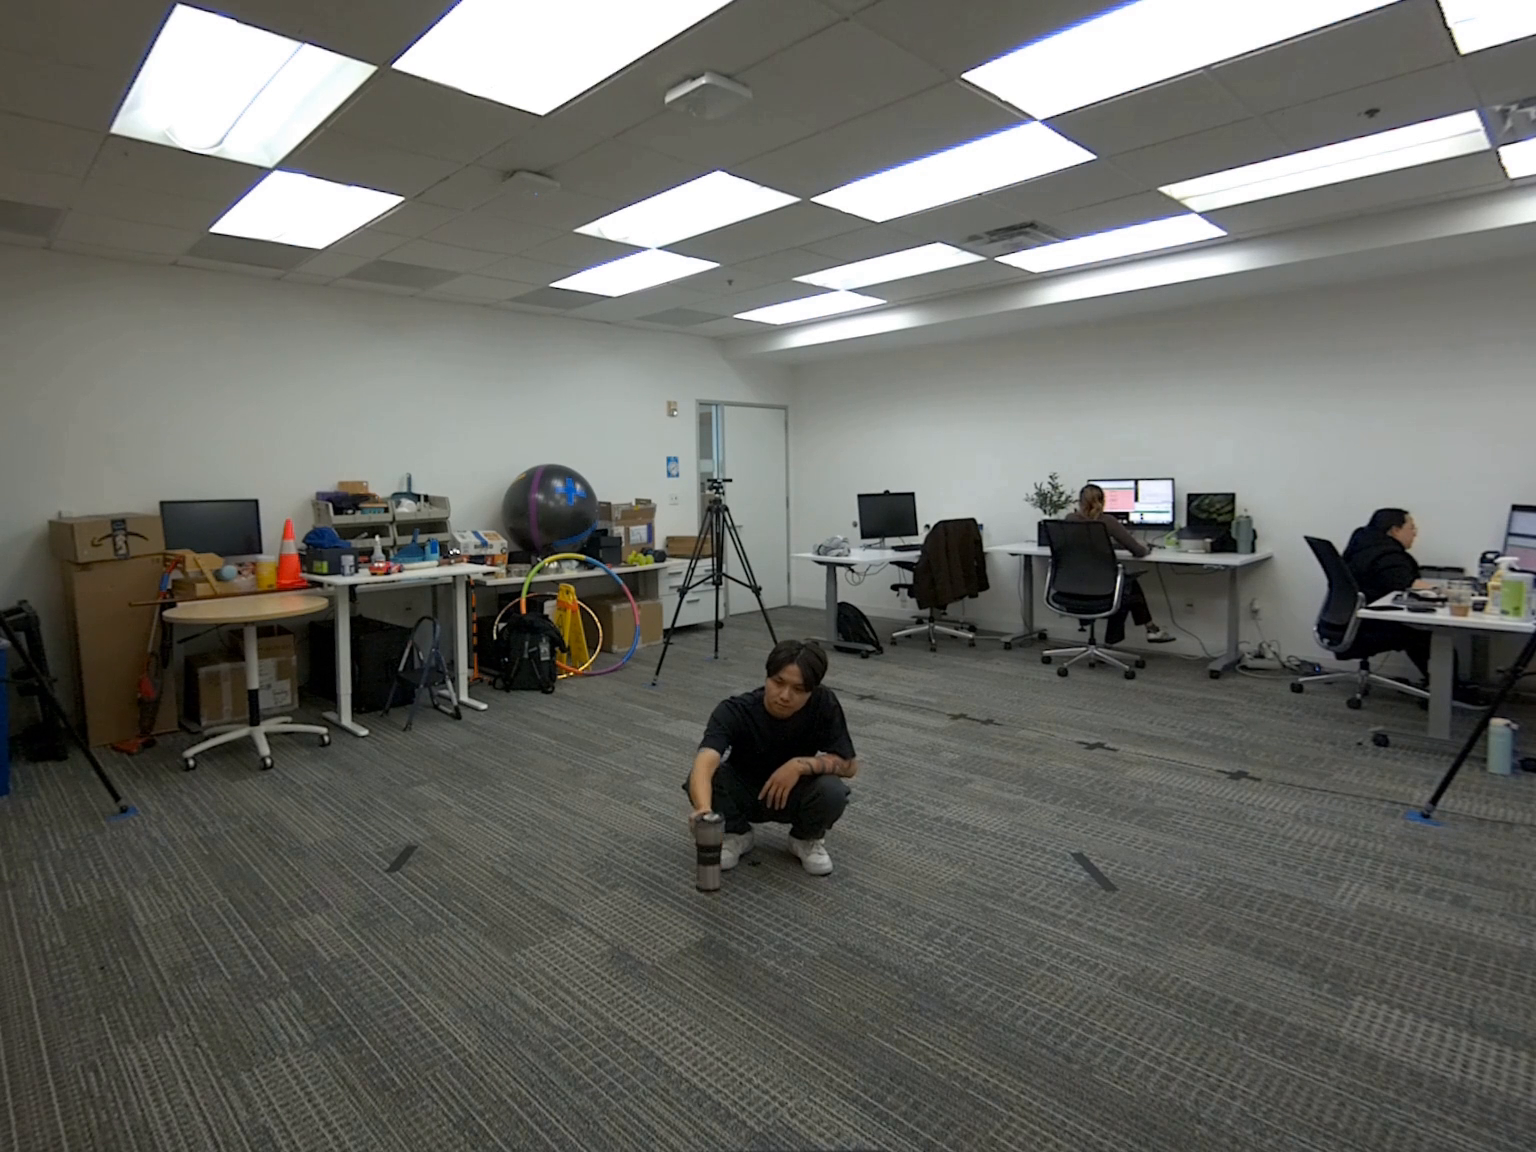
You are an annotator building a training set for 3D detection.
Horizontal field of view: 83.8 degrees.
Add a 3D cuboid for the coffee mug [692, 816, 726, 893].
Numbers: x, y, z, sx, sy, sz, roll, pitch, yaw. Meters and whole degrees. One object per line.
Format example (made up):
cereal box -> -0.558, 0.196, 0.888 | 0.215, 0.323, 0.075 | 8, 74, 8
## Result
coffee mug -> -0.146, 0.831, 2.436 | 0.119, 0.203, 0.090 | -2, -4, -37
